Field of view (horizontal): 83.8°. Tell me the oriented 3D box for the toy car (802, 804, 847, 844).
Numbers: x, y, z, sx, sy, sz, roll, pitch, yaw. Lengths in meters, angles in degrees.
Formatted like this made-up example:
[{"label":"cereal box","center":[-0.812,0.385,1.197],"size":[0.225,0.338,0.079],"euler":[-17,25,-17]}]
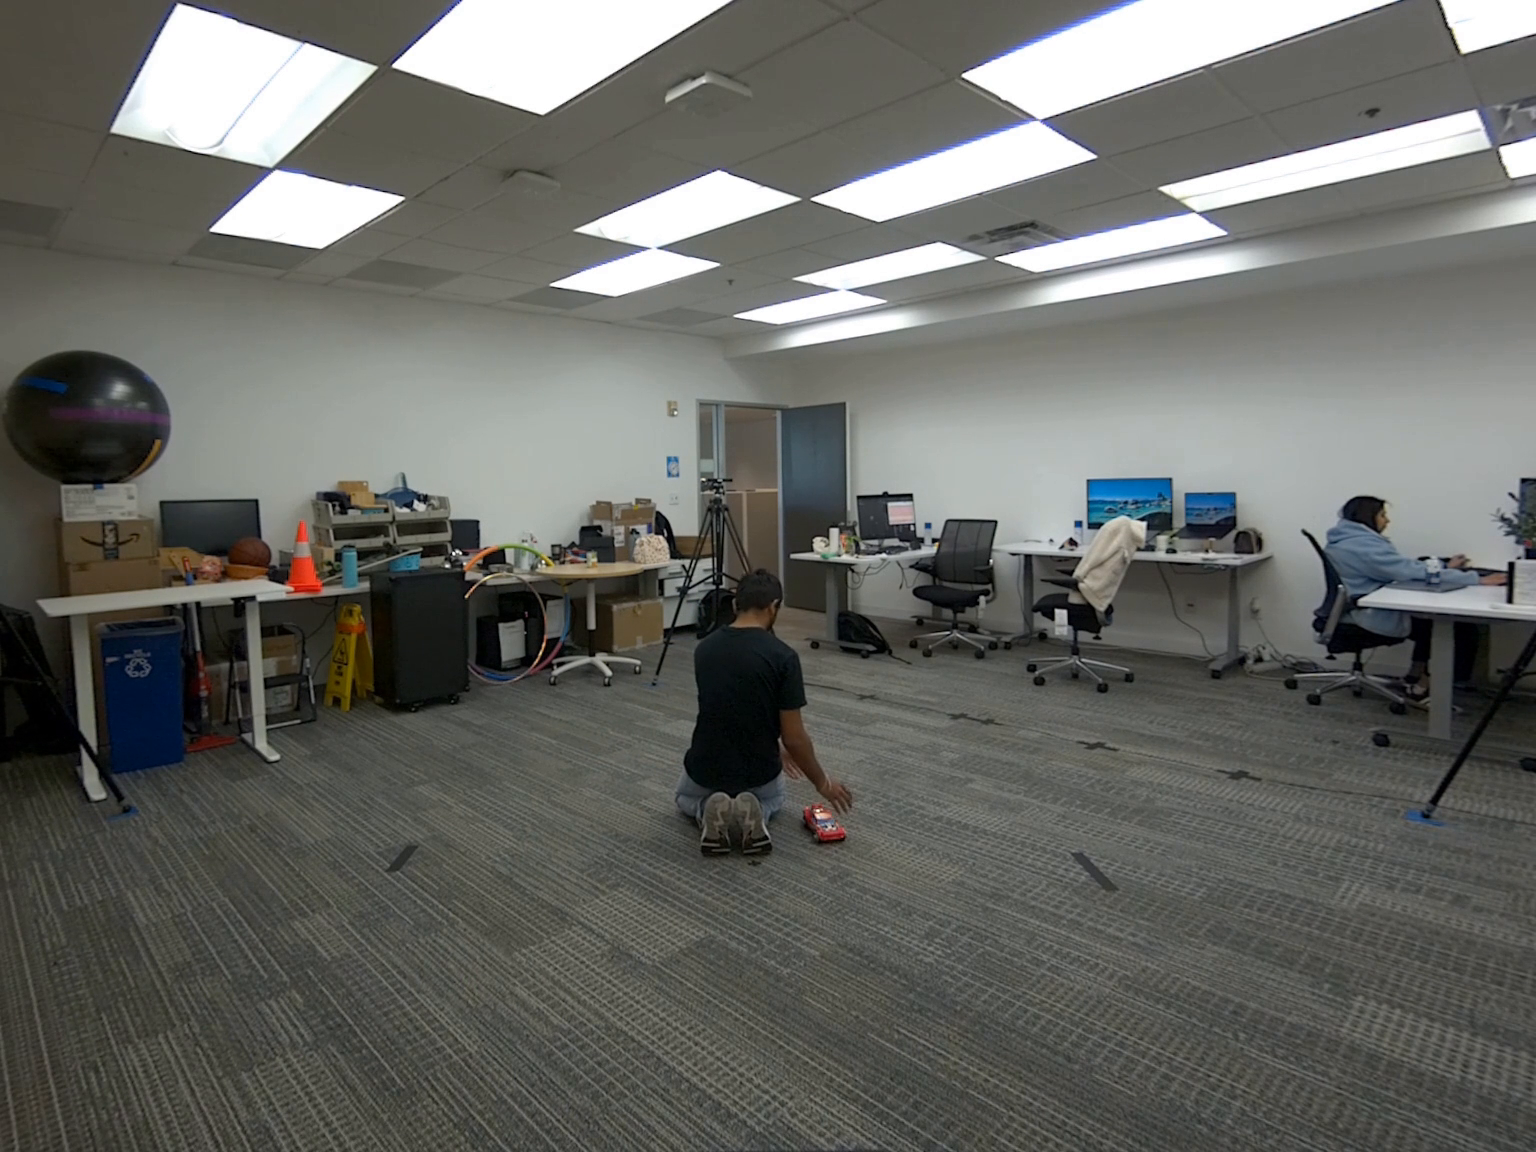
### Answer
[{"label":"toy car","center":[0.211,0.968,3.374],"size":[0.129,0.082,0.261],"euler":[-2,17,-13]}]
